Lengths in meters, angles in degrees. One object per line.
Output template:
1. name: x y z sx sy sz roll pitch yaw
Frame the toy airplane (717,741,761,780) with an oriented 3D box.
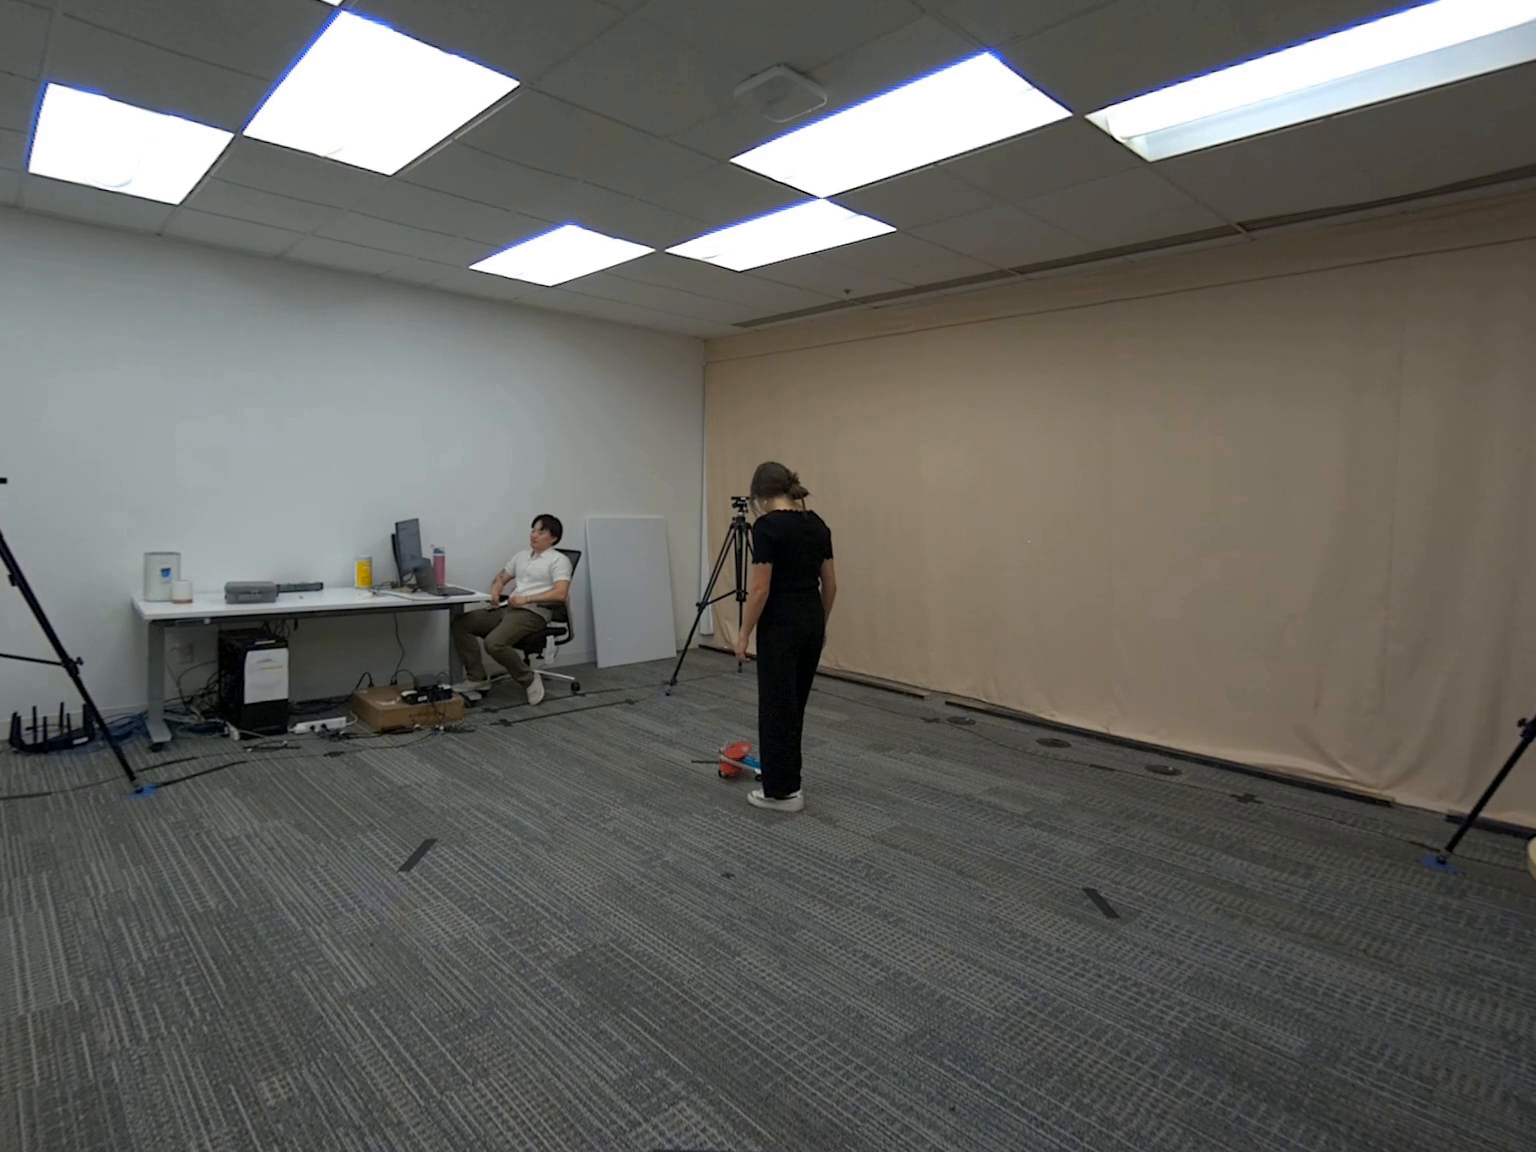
1. toy airplane: -0.134 0.932 4.230 0.258 0.156 0.253 0 5 -7
